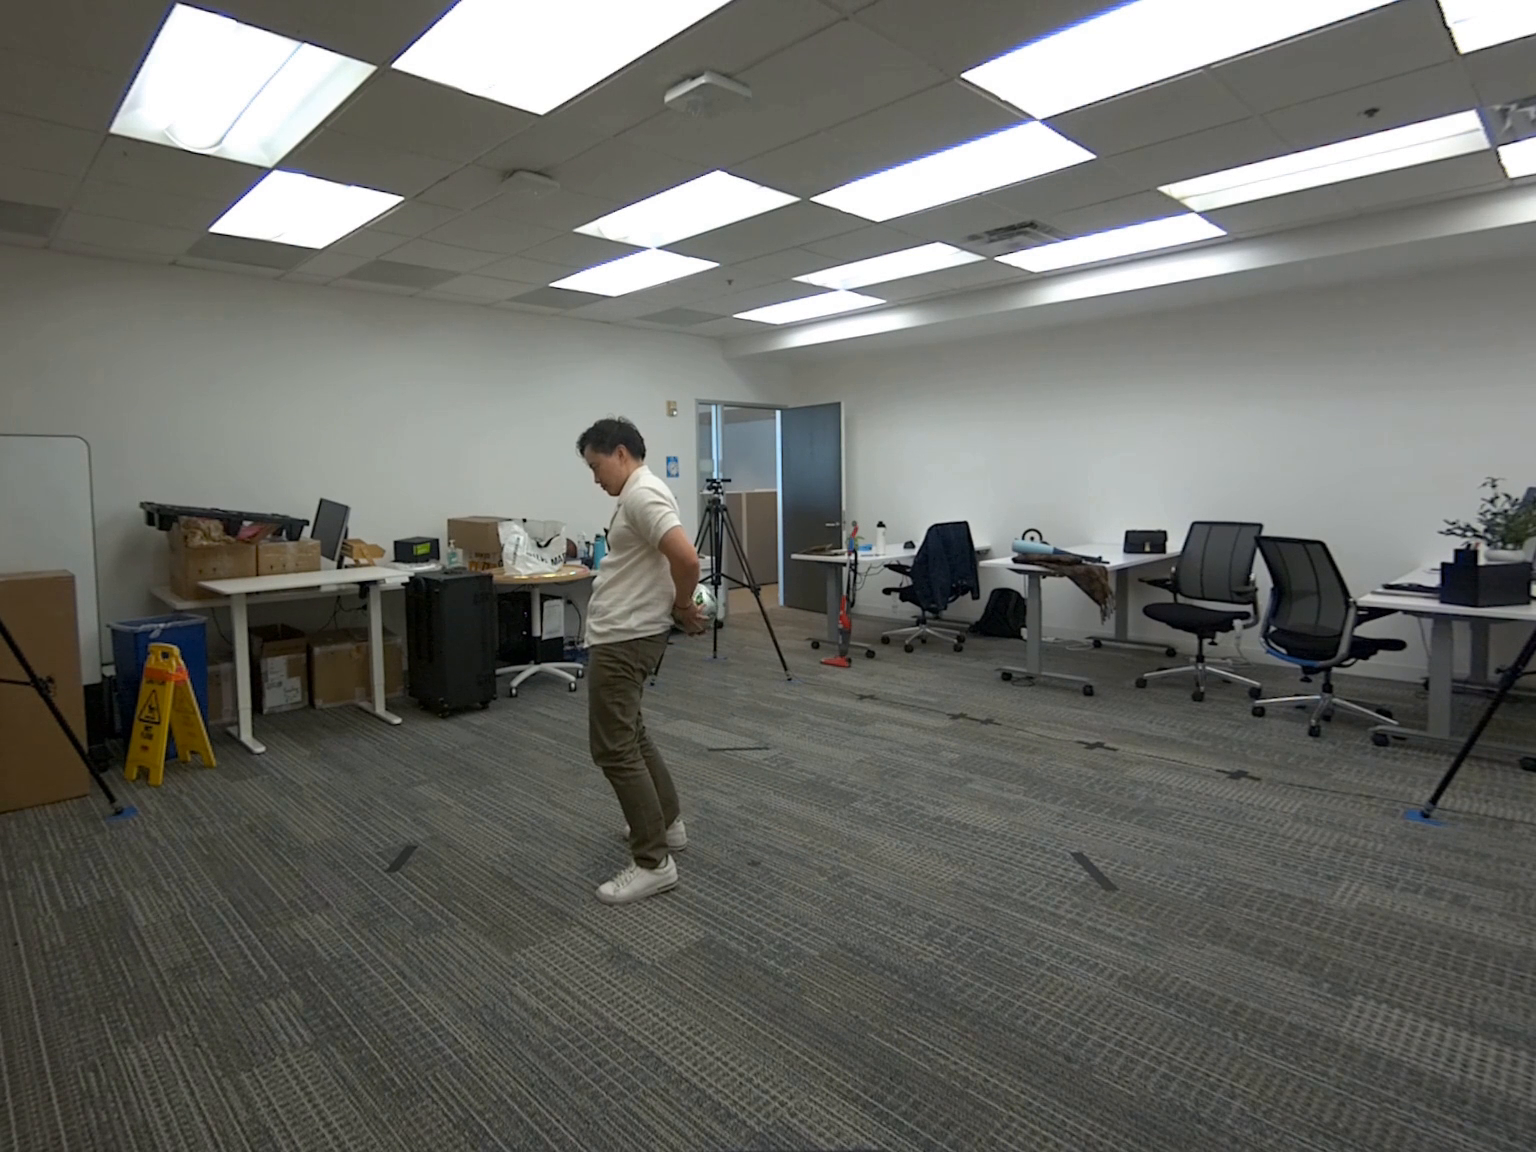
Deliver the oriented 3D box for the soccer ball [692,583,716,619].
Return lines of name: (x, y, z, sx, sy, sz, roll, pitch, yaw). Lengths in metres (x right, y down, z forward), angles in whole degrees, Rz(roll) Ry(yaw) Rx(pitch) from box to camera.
soccer ball: (-0.278, 0.121, 3.196, 0.187, 0.187, 0.188, -1, 5, -2)
